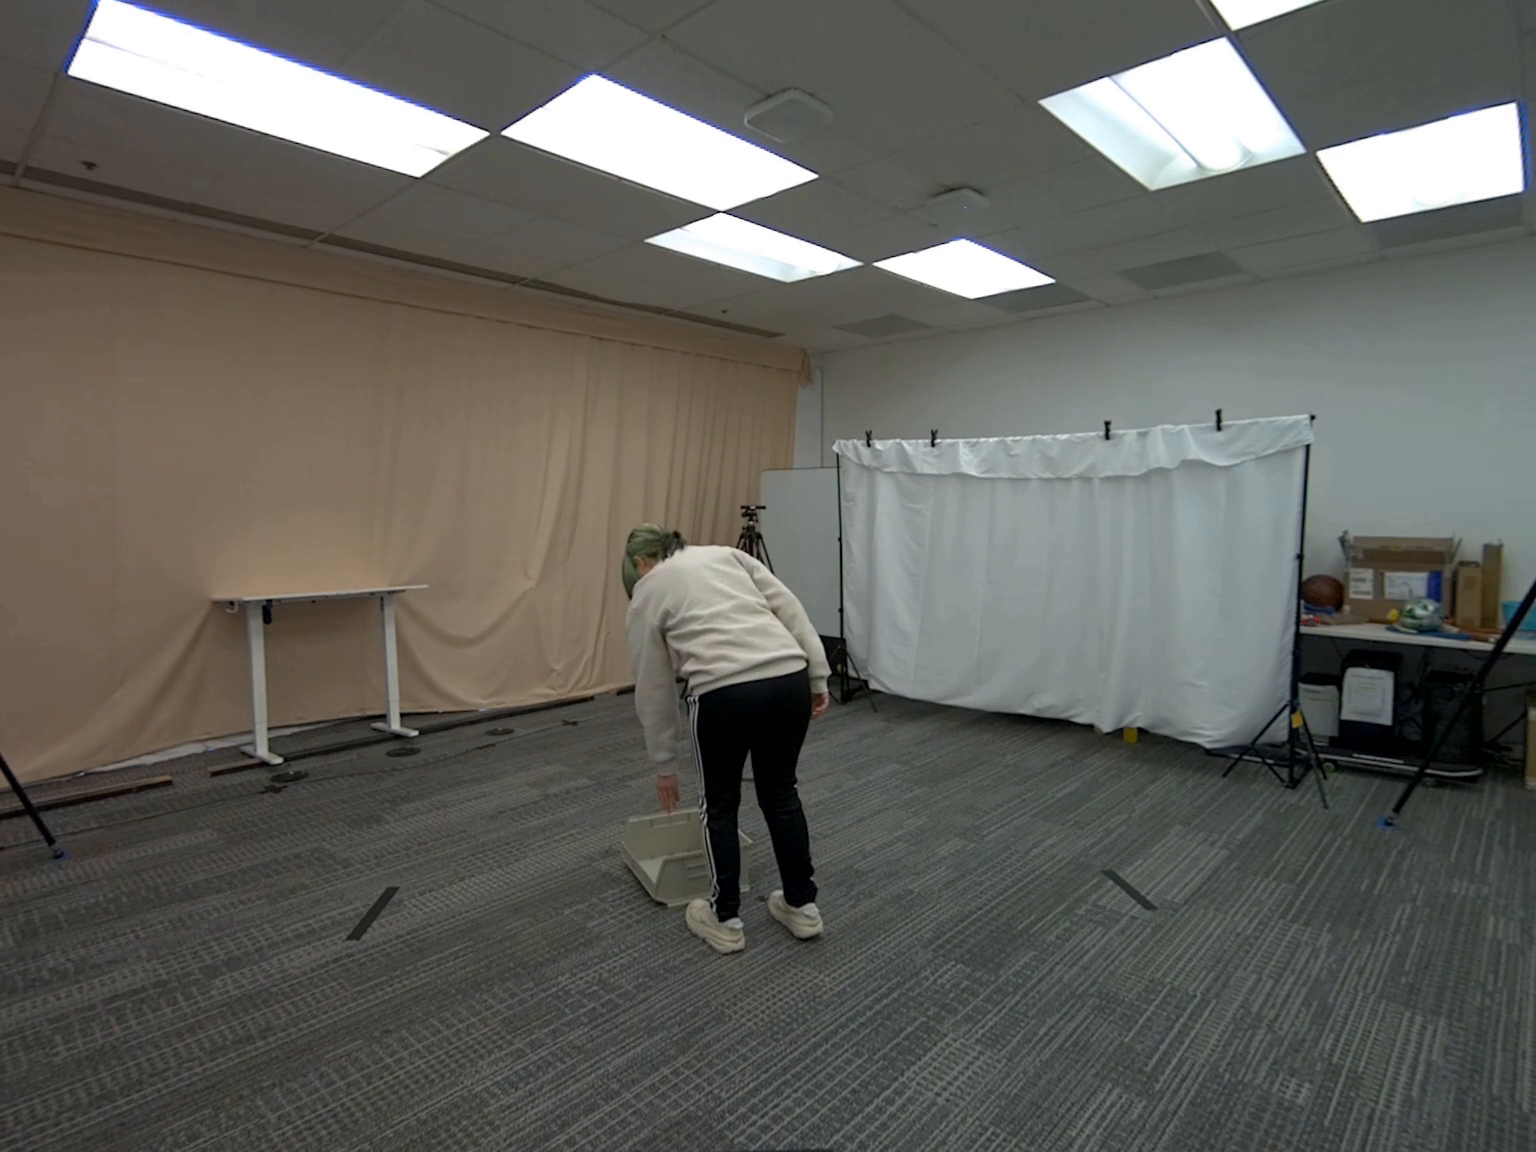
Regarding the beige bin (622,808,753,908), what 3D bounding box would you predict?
[{"bbox_3d":[-0.315,1.040,3.154,0.368,0.188,0.433,-2,4,-25],"label":"beige bin"}]
